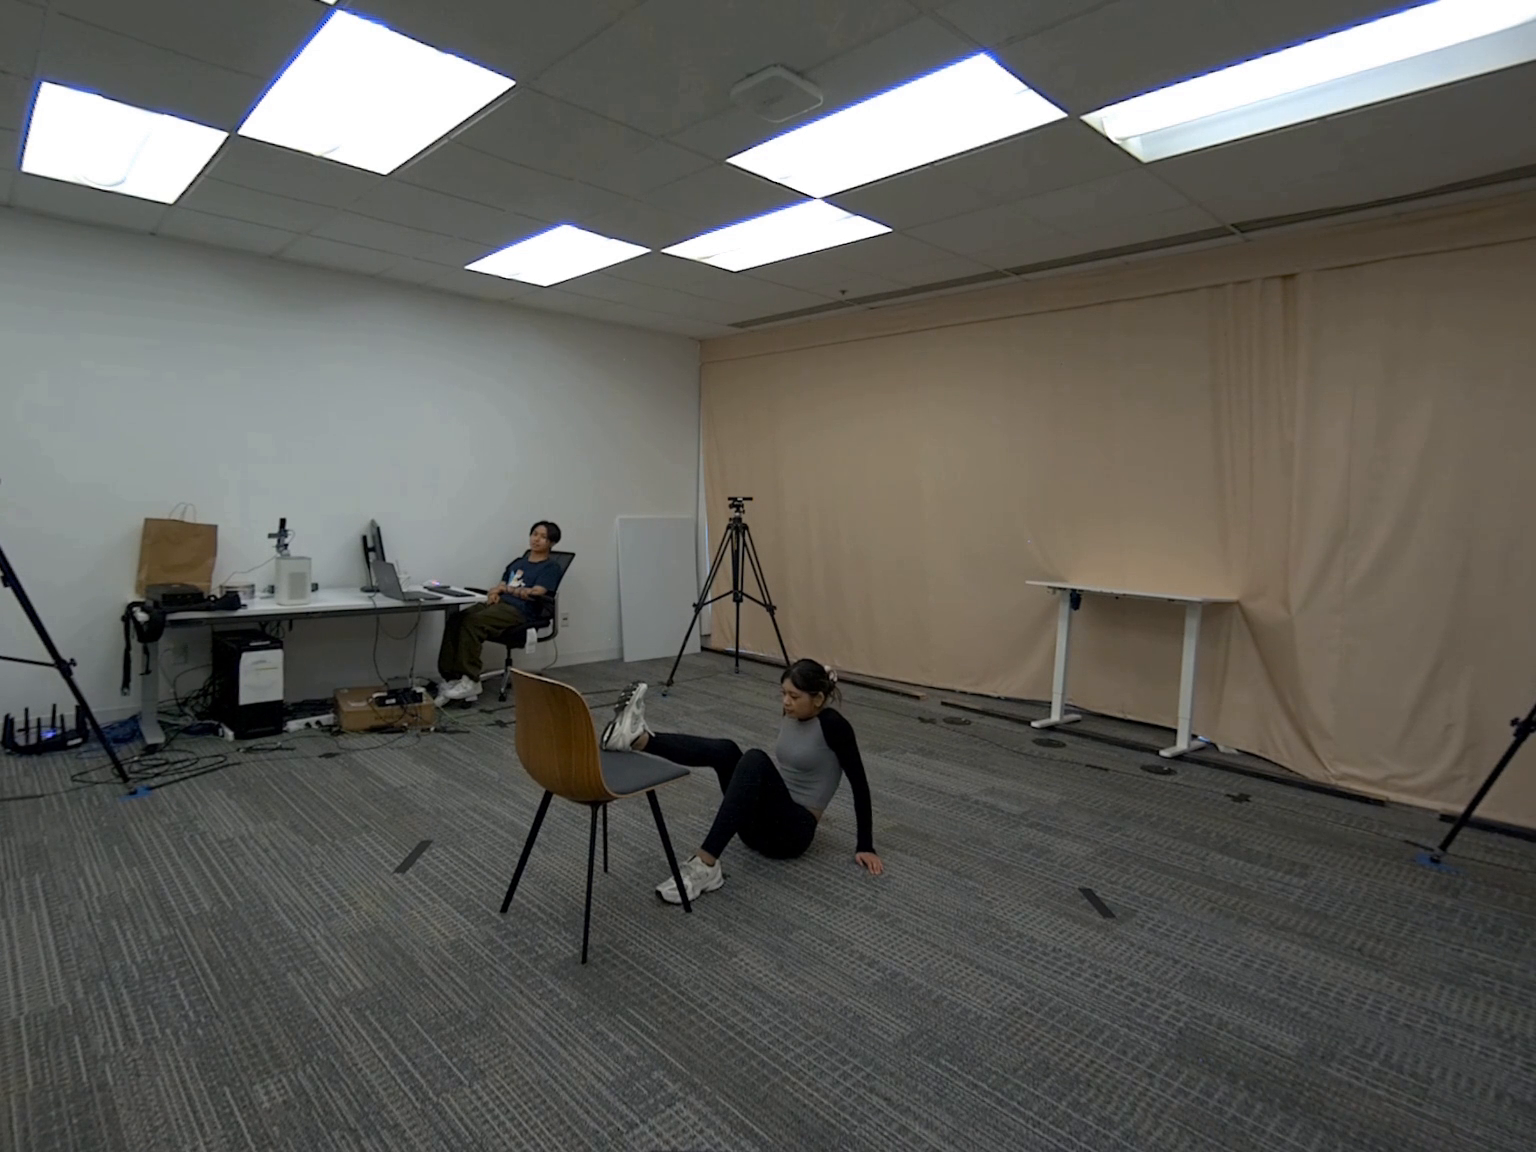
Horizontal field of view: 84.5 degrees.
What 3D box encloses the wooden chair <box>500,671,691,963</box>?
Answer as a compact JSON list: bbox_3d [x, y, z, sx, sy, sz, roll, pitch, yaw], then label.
[{"bbox_3d":[-0.561,0.699,2.784,0.490,0.873,0.513,4,9,41],"label":"wooden chair"}]
